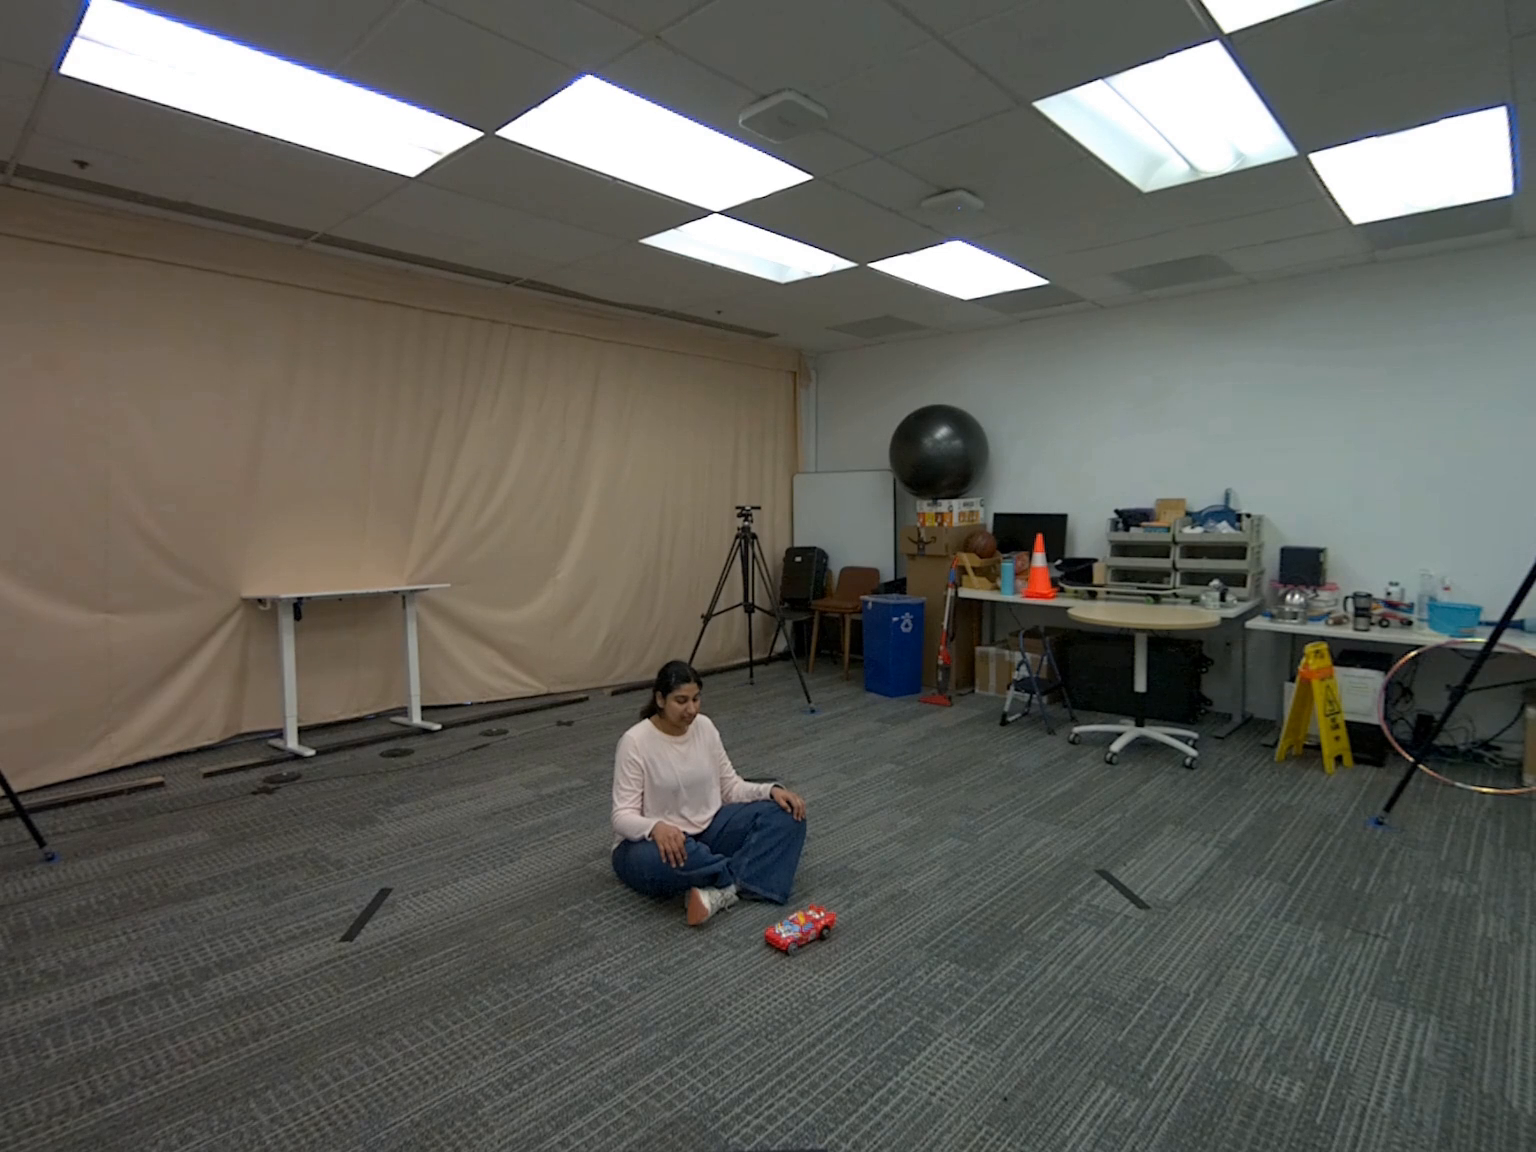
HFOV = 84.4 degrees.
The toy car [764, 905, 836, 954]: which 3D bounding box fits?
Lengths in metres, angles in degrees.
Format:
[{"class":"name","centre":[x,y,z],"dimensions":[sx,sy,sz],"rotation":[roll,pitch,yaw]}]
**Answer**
[{"class":"toy car","centre":[0.112,1.125,2.709],"dimensions":[0.248,0.082,0.134],"rotation":[-18,15,-38]}]
